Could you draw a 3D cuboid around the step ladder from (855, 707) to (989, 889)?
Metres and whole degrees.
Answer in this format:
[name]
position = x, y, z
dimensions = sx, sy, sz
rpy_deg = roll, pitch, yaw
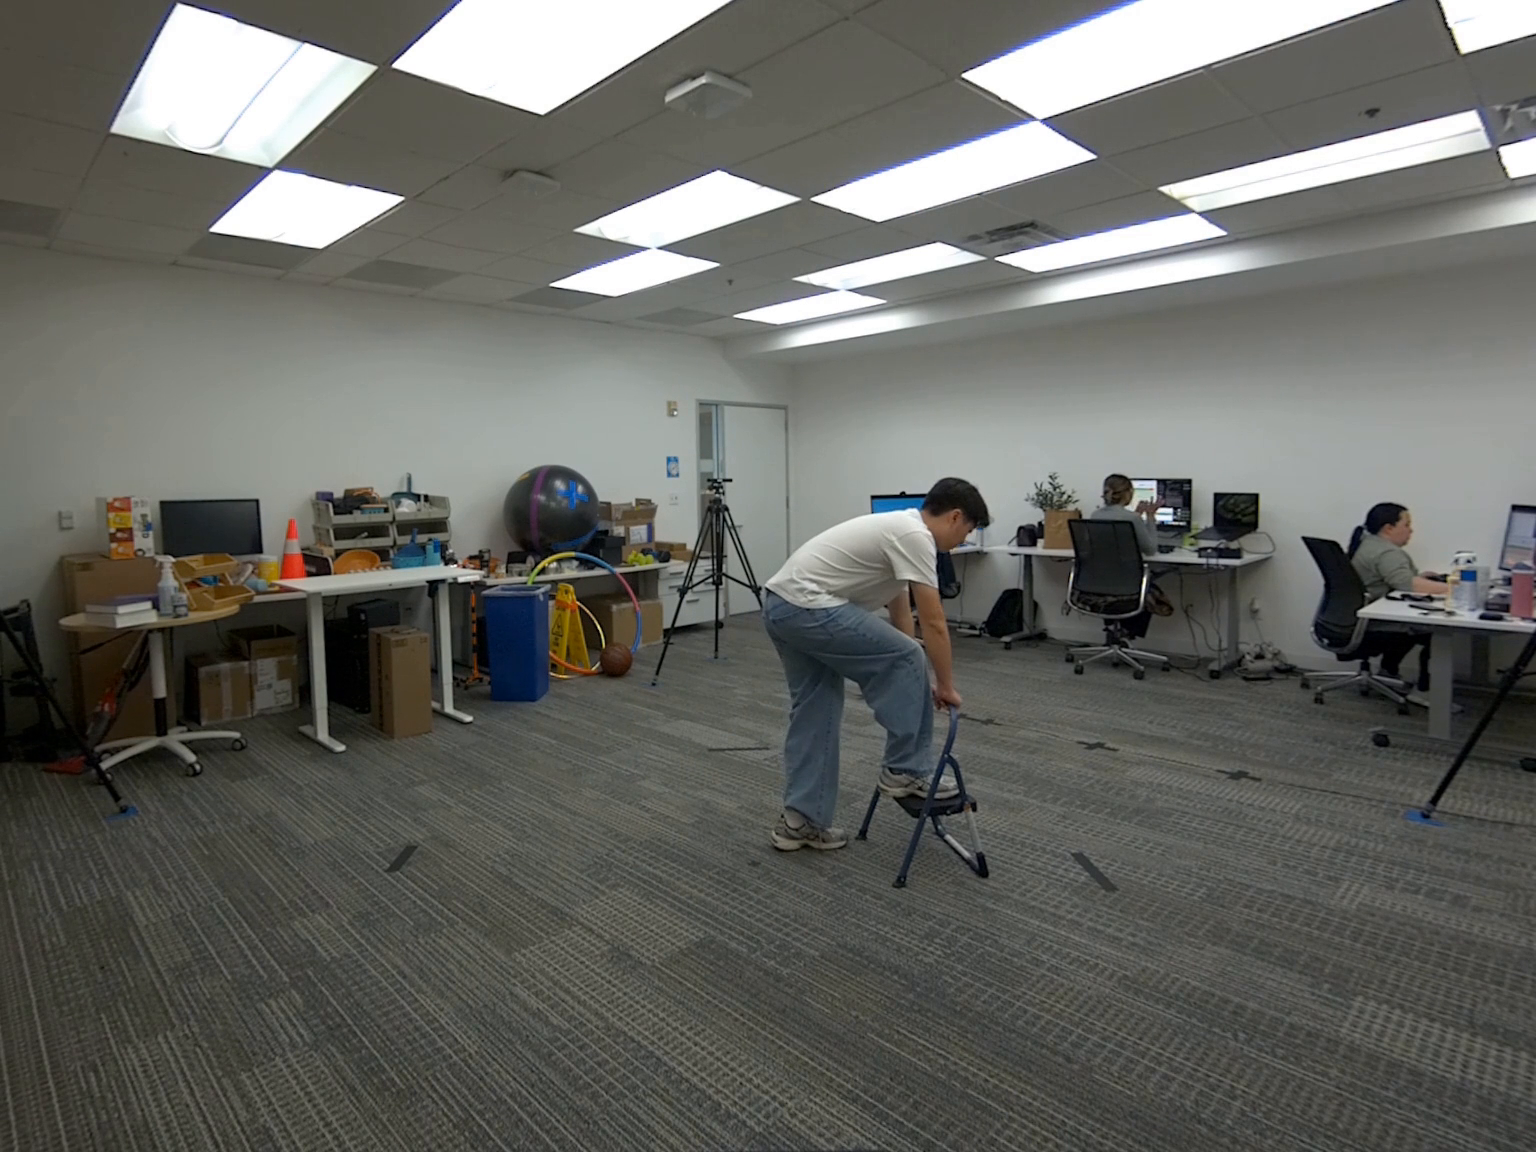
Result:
[step ladder]
position = 0.556, 0.735, 3.110
dimensions = 0.345, 0.603, 0.437
rpy_deg = -1, 5, -12
